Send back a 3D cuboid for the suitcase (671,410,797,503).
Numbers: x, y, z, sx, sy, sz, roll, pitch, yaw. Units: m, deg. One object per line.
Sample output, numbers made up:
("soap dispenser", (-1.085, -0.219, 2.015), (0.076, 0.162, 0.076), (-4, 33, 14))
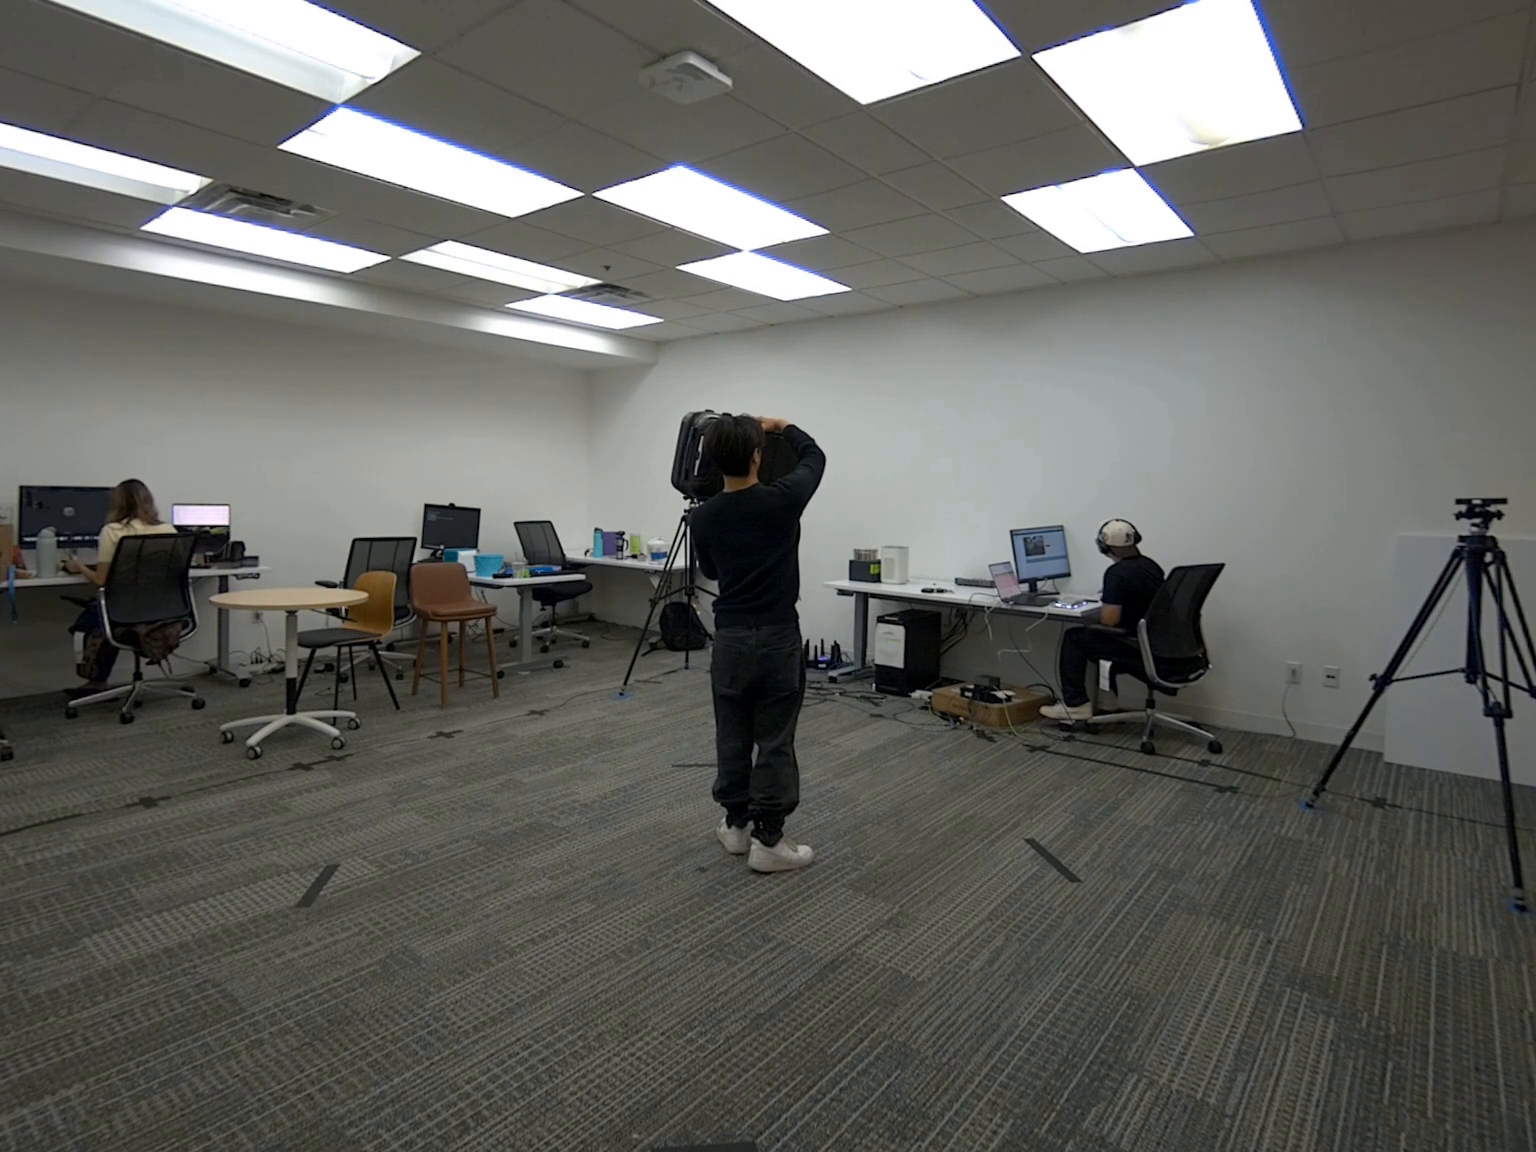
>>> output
("suitcase", (-0.135, -0.483, 3.581), (0.533, 0.373, 0.257), (7, 9, -30))
